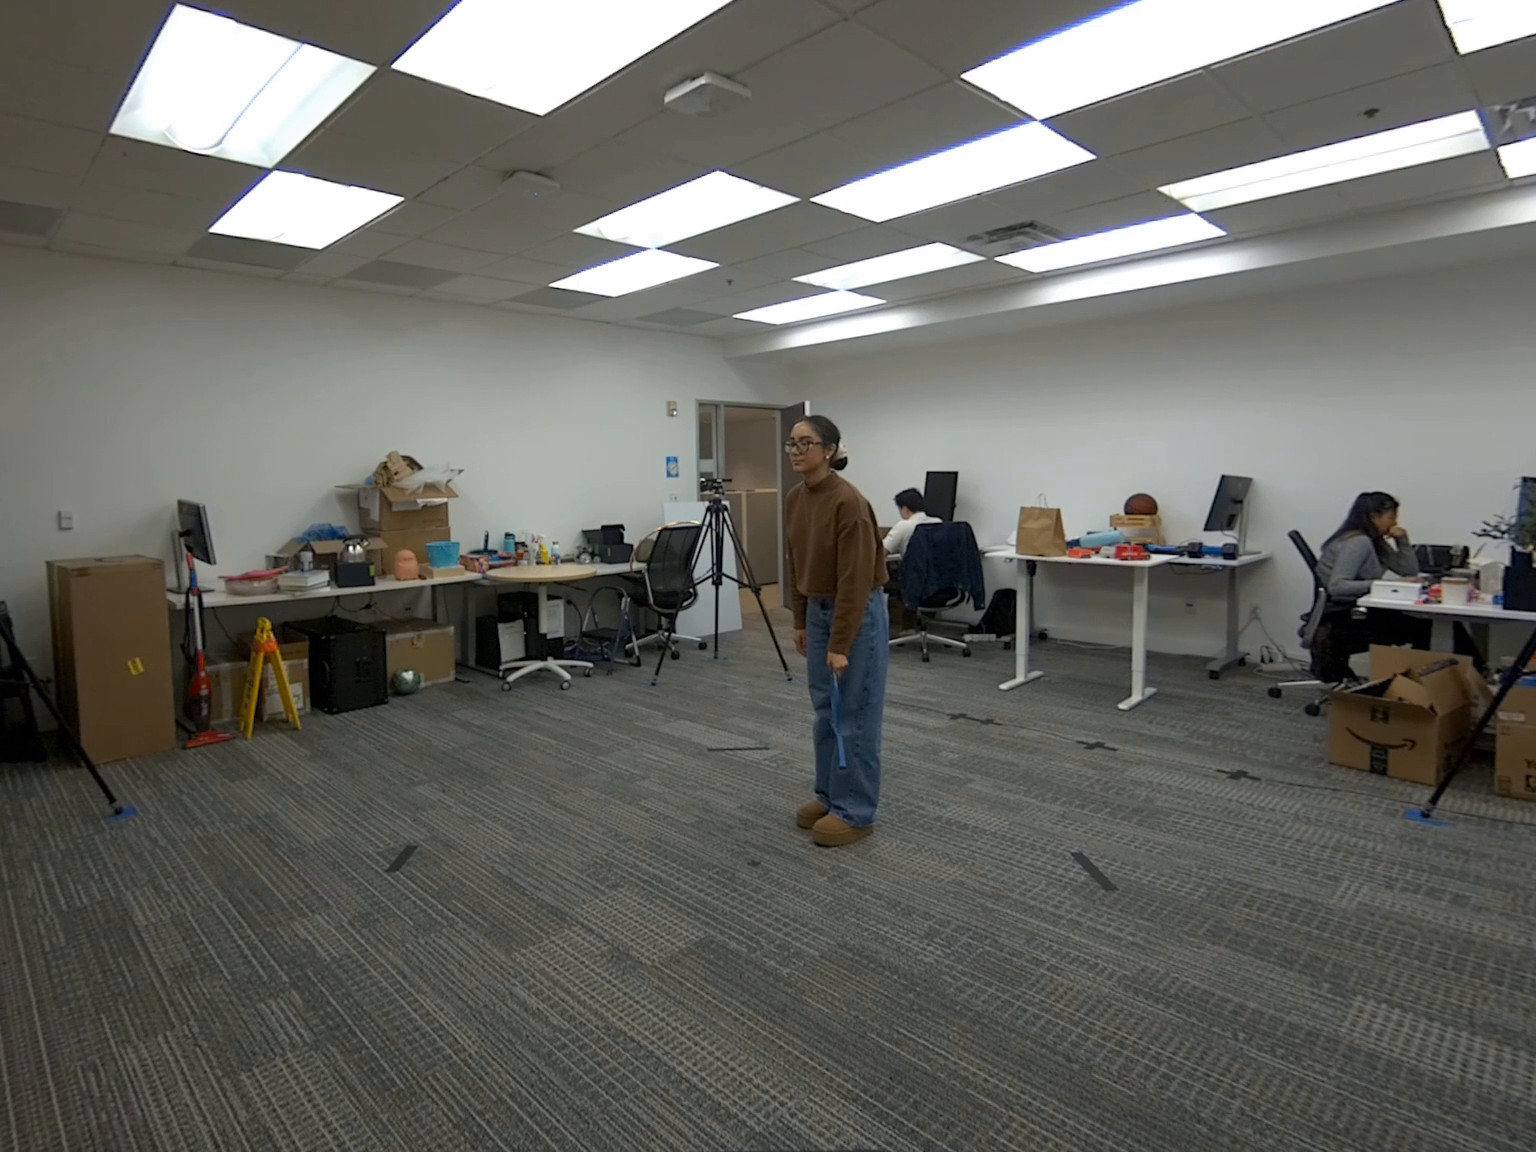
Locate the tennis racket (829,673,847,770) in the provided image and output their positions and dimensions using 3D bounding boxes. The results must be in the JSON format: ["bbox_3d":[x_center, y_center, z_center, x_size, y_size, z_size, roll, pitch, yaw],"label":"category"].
[{"bbox_3d":[0.246,0.497,3.132,0.032,0.443,0.207,-3,-38,9],"label":"tennis racket"}]
